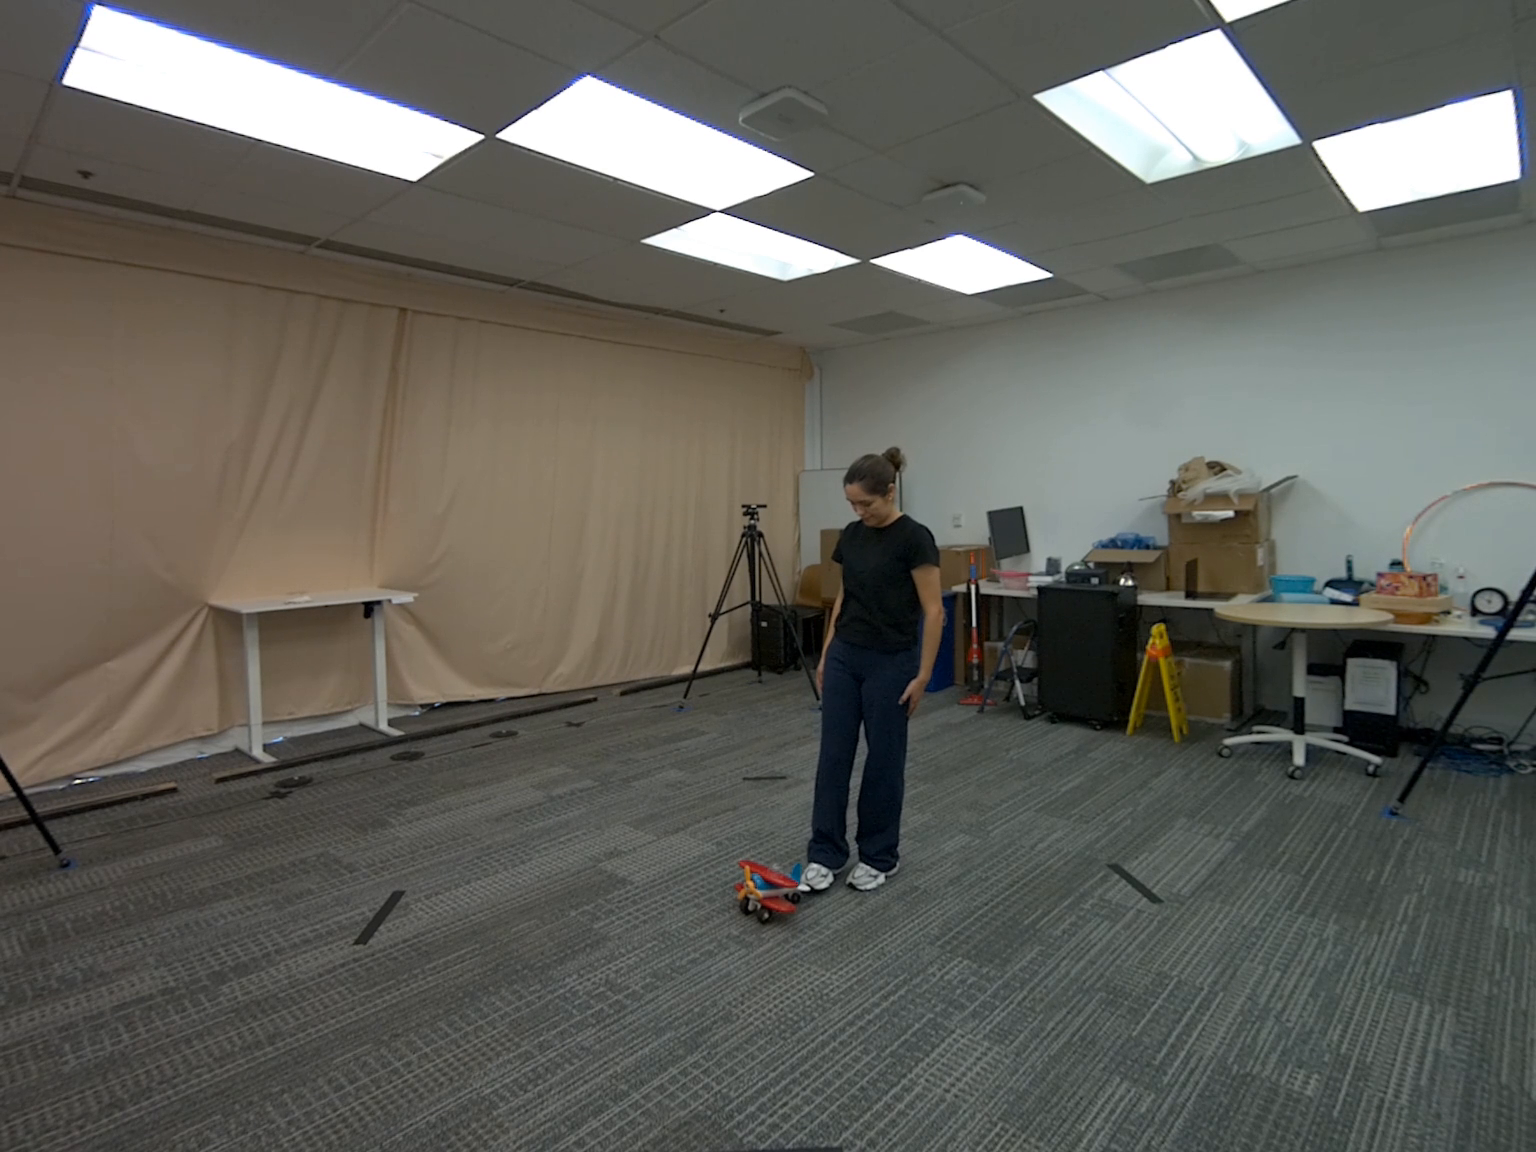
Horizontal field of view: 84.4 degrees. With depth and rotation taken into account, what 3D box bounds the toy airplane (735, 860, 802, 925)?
[{"bbox_3d":[0.021,1.070,2.900,0.256,0.156,0.255,1,7,20],"label":"toy airplane"}]
